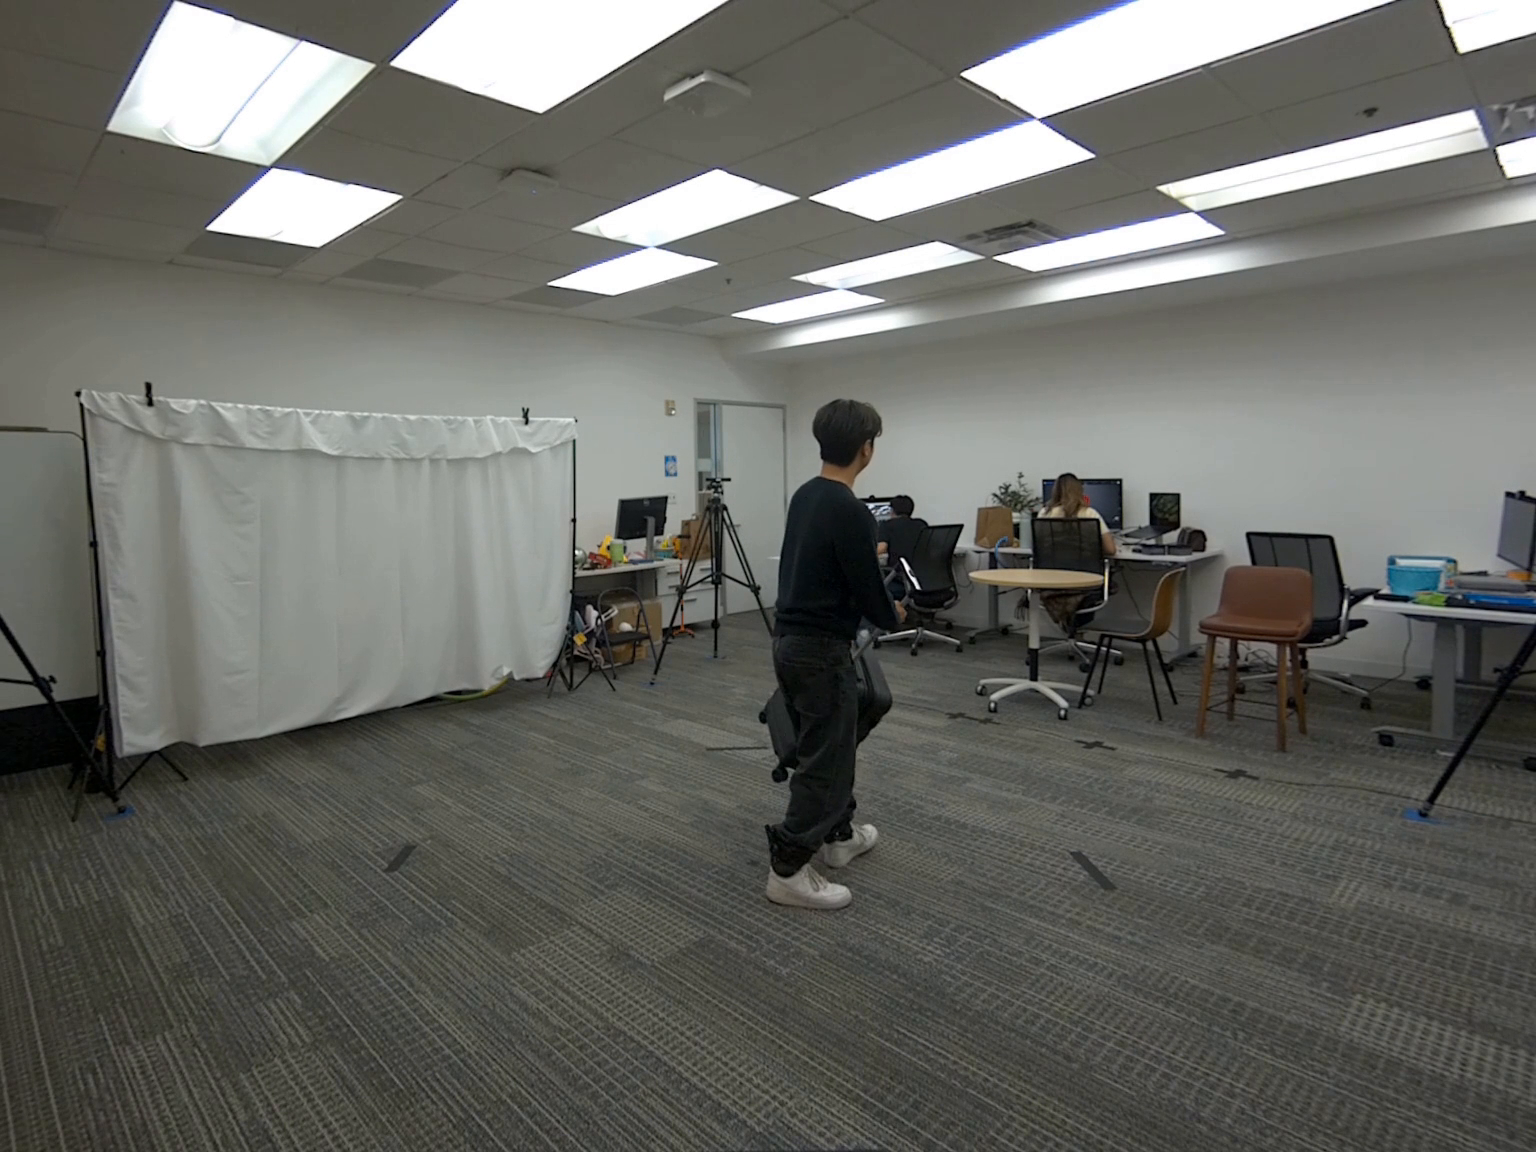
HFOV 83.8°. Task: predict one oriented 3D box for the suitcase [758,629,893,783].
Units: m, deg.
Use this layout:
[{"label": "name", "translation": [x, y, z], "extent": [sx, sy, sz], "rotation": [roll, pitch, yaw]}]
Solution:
[{"label": "suitcase", "translation": [0.345, 0.378, 3.265], "extent": [0.250, 0.975, 0.396], "rotation": [22, 32, -27]}]
